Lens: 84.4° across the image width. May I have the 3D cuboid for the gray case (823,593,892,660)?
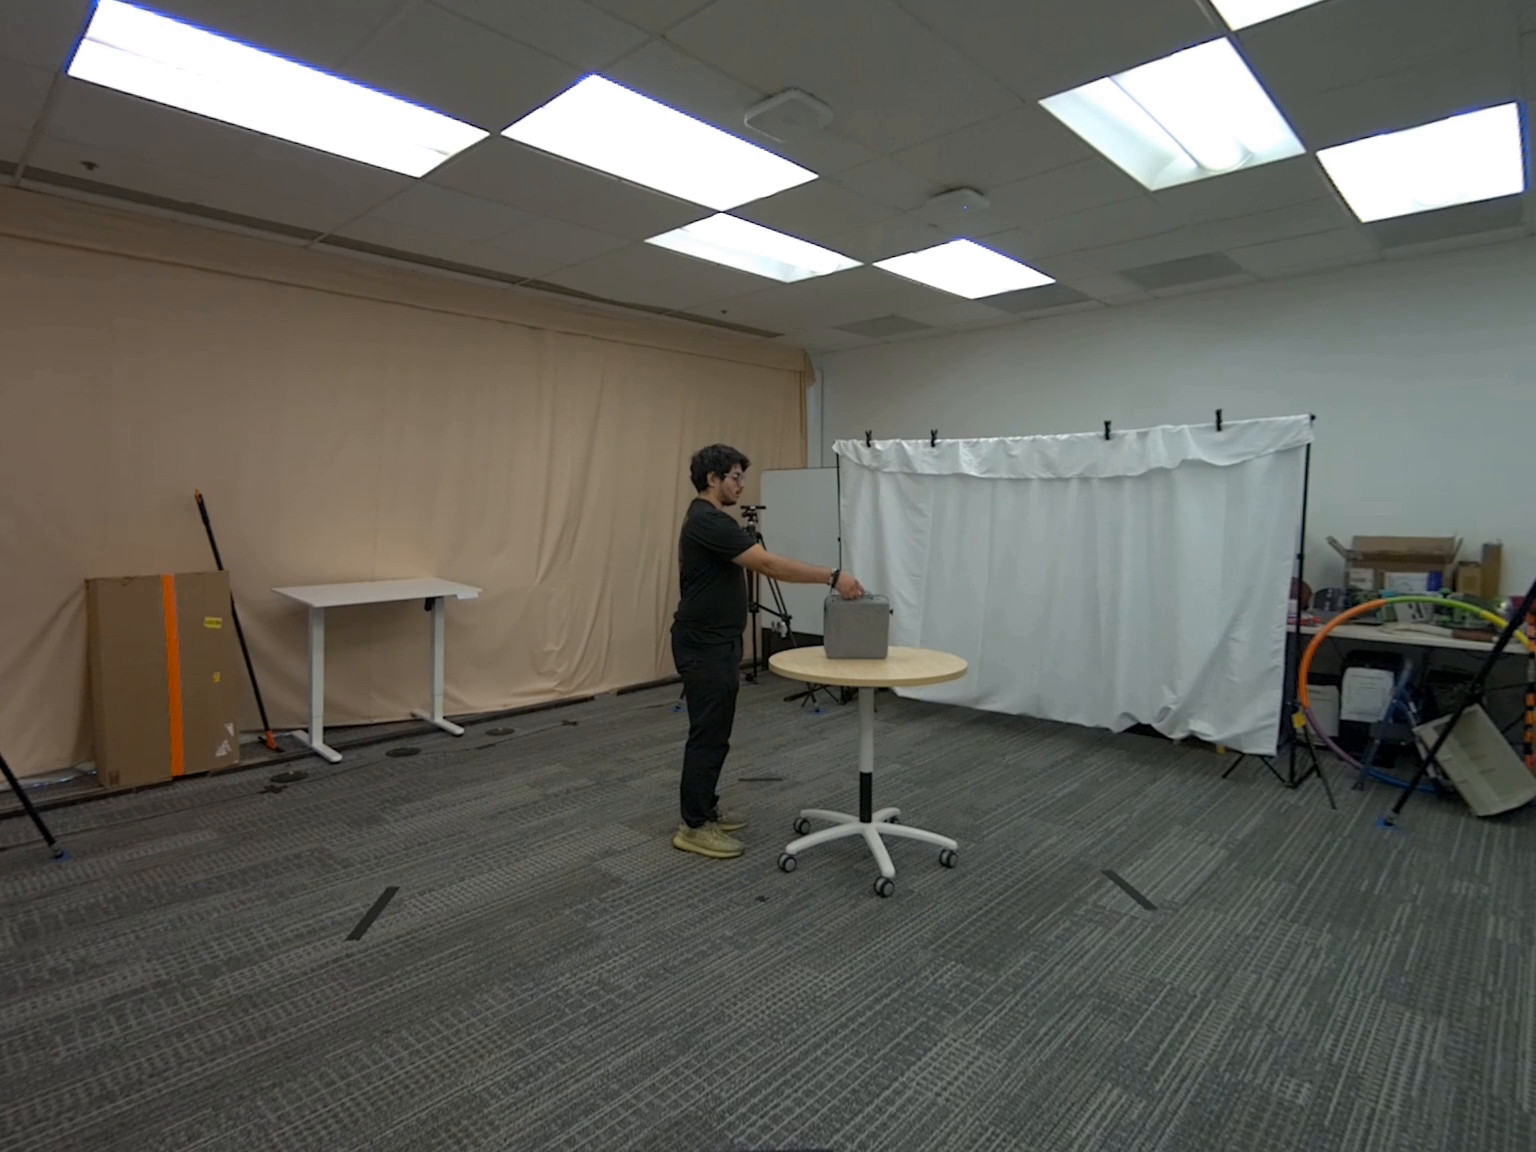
[{"bbox_3d":[0.363,0.203,3.354,0.258,0.258,0.105,0,13,4],"label":"gray case"}]
